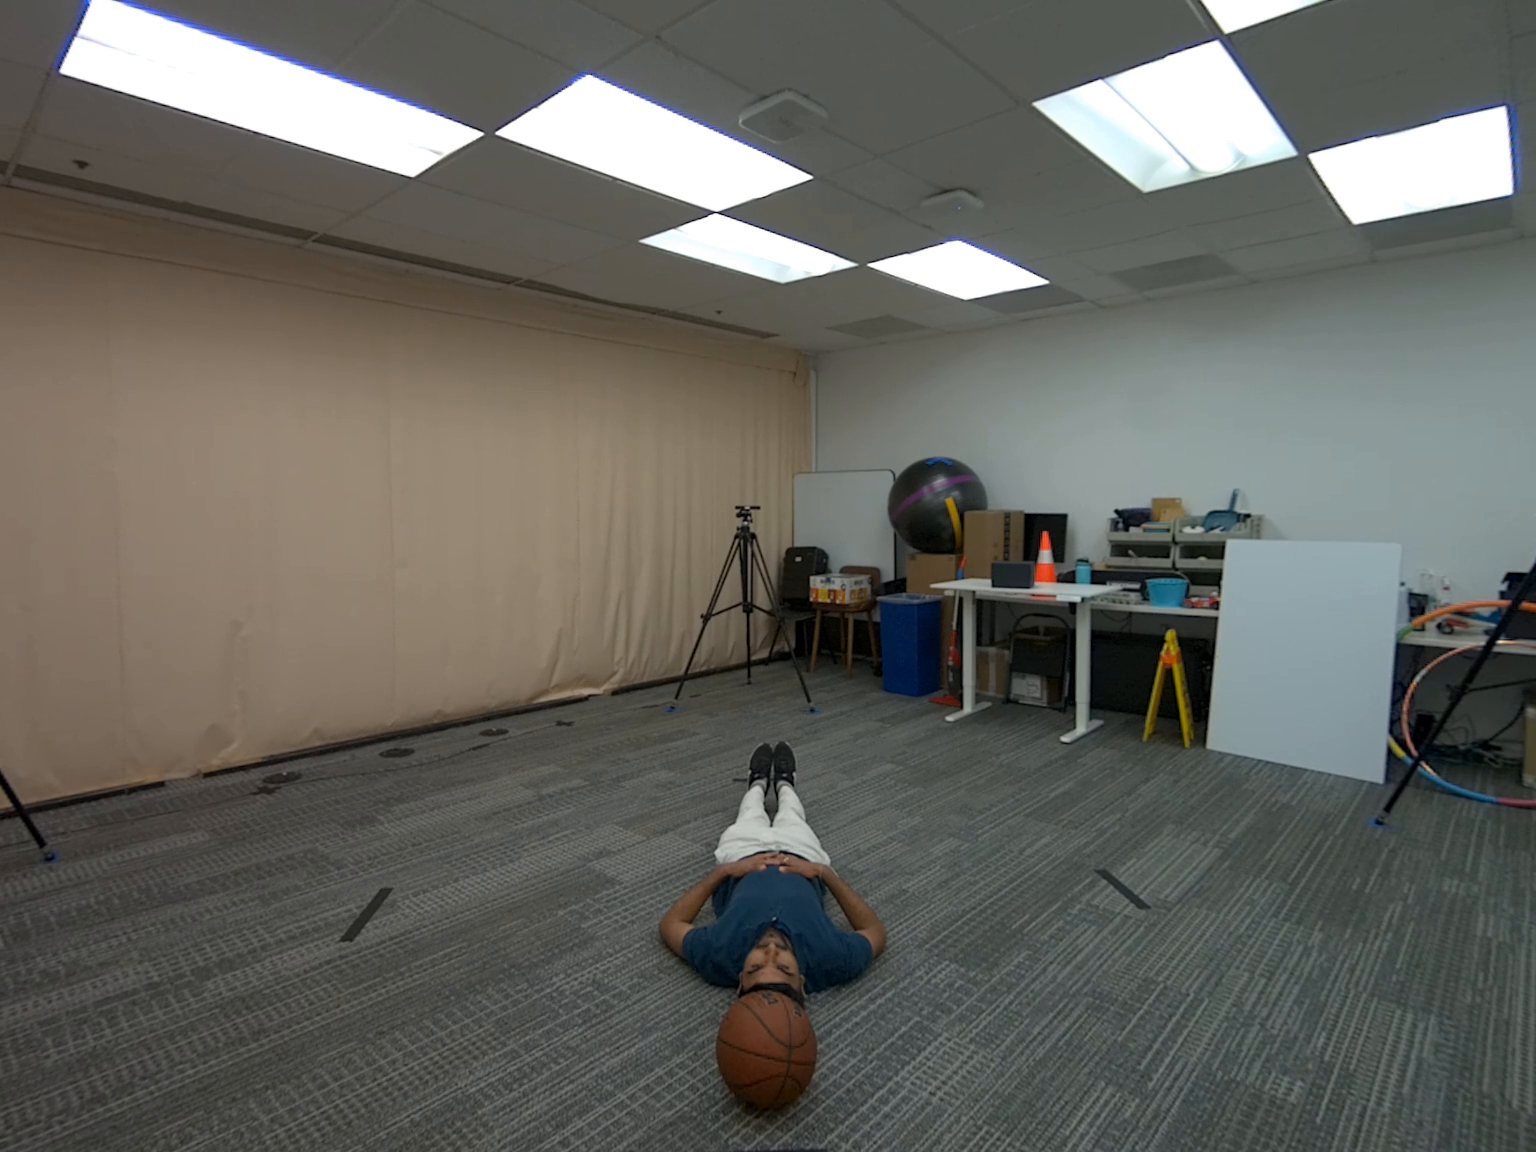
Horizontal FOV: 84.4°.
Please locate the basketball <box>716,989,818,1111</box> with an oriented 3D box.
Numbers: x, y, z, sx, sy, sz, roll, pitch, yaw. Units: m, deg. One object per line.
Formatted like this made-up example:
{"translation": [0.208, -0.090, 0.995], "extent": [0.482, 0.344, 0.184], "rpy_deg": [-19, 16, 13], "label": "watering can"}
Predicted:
{"translation": [0.000, 1.111, 1.971], "extent": [0.236, 0.235, 0.237], "rpy_deg": [0, 4, -2], "label": "basketball"}
